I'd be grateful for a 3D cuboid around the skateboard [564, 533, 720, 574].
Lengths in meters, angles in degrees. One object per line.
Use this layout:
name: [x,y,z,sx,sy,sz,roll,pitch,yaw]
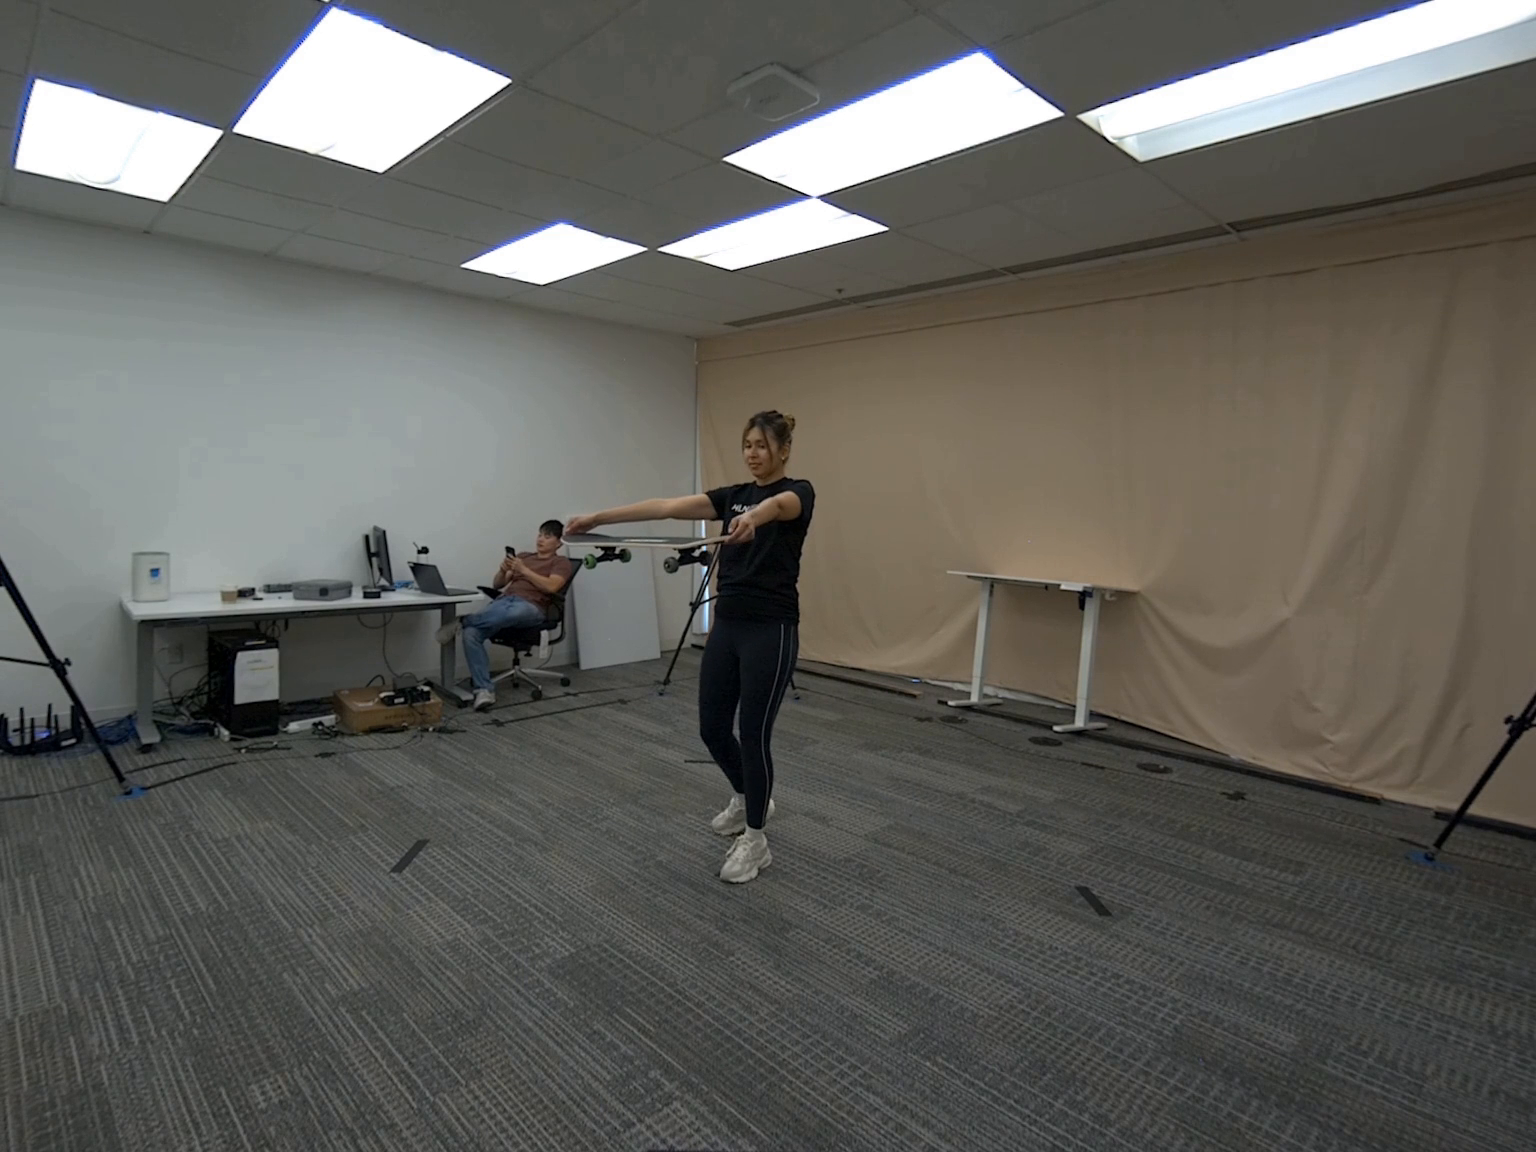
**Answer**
skateboard: [-0.399,-0.078,2.740,0.804,0.109,0.190,3,15,42]
